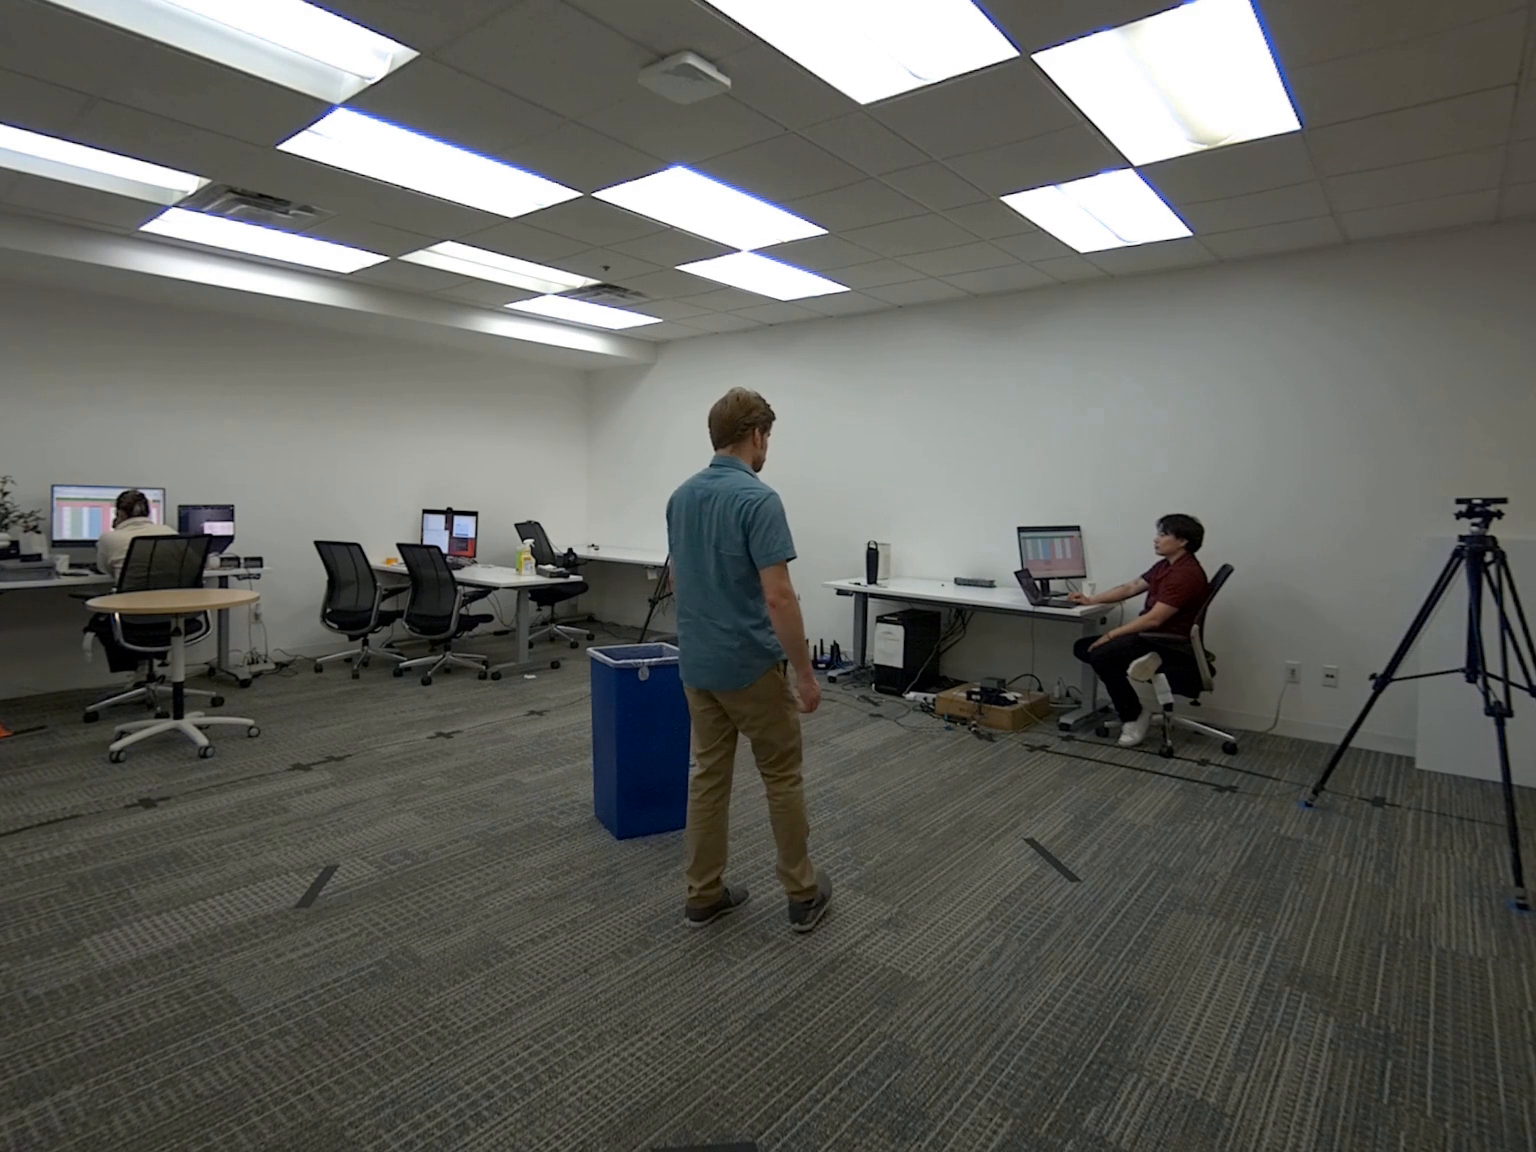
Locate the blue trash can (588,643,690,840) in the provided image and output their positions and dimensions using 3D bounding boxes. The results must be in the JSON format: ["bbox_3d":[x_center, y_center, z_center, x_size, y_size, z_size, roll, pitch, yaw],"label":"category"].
[{"bbox_3d":[-0.550,0.665,3.539,0.368,0.712,0.385,0,3,-29],"label":"blue trash can"}]
